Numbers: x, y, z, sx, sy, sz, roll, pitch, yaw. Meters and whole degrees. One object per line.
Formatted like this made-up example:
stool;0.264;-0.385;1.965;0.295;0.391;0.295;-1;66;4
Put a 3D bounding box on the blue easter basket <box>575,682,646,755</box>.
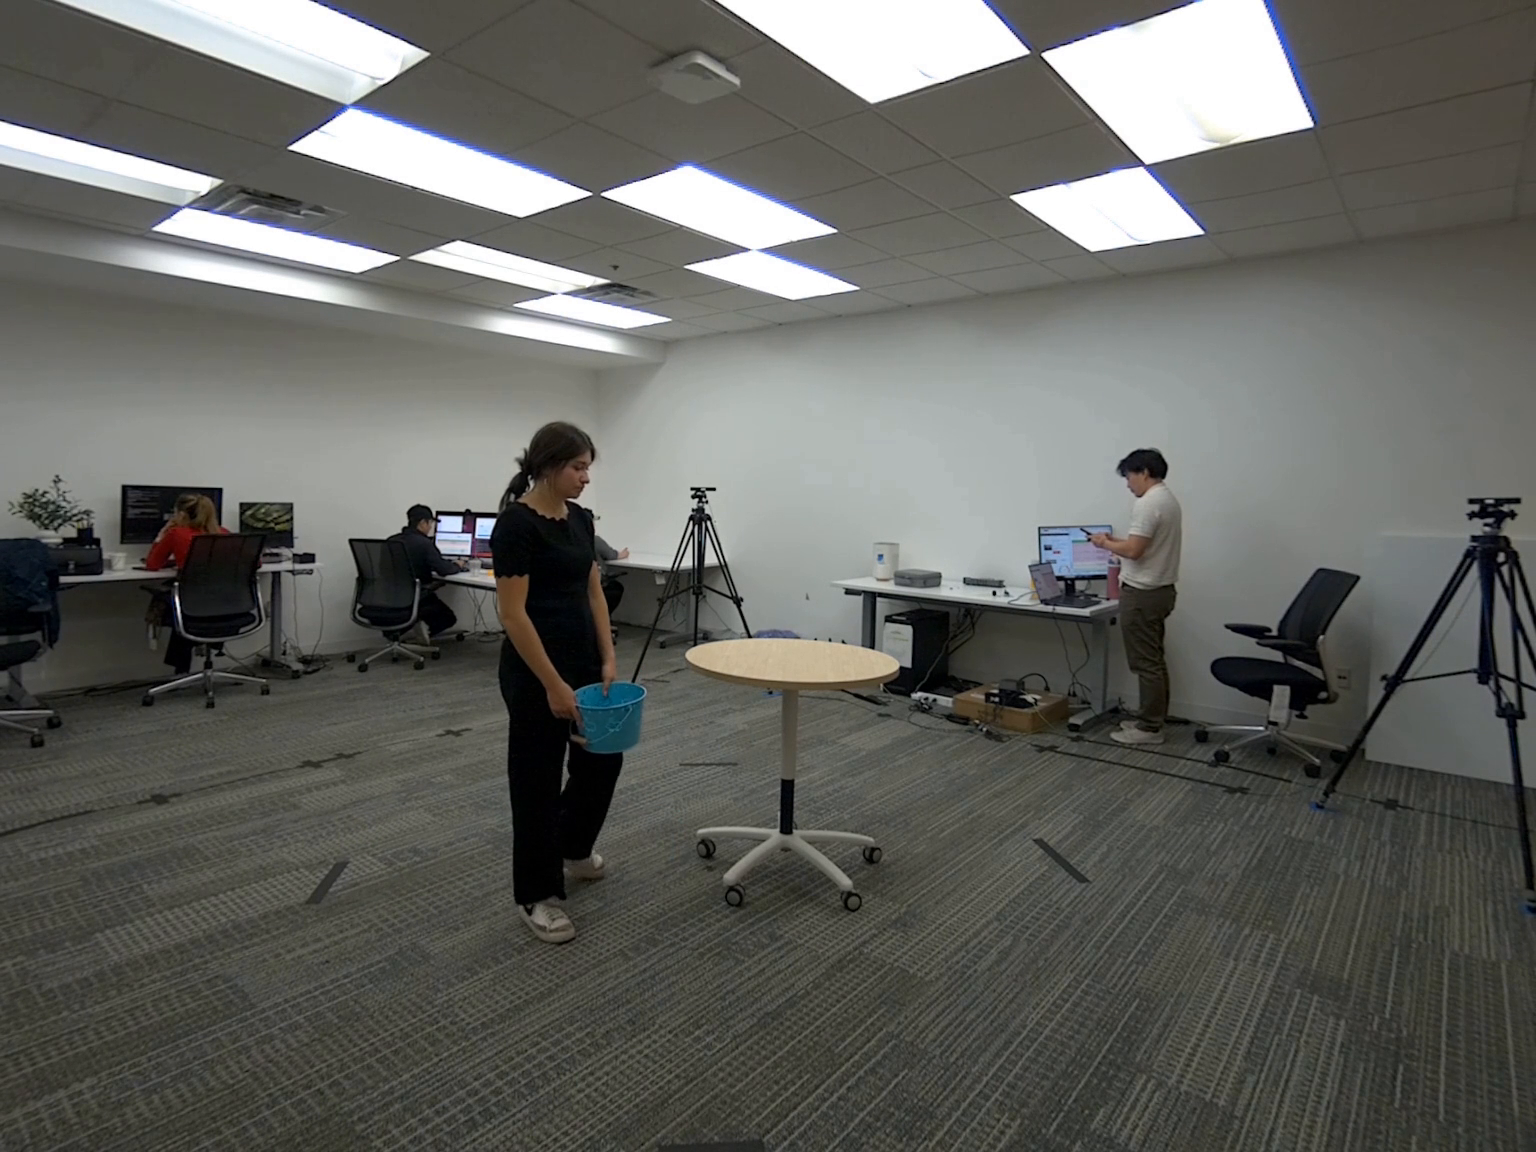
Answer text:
blue easter basket;-0.519;0.441;2.604;0.243;0.154;0.246;-2;11;-2
